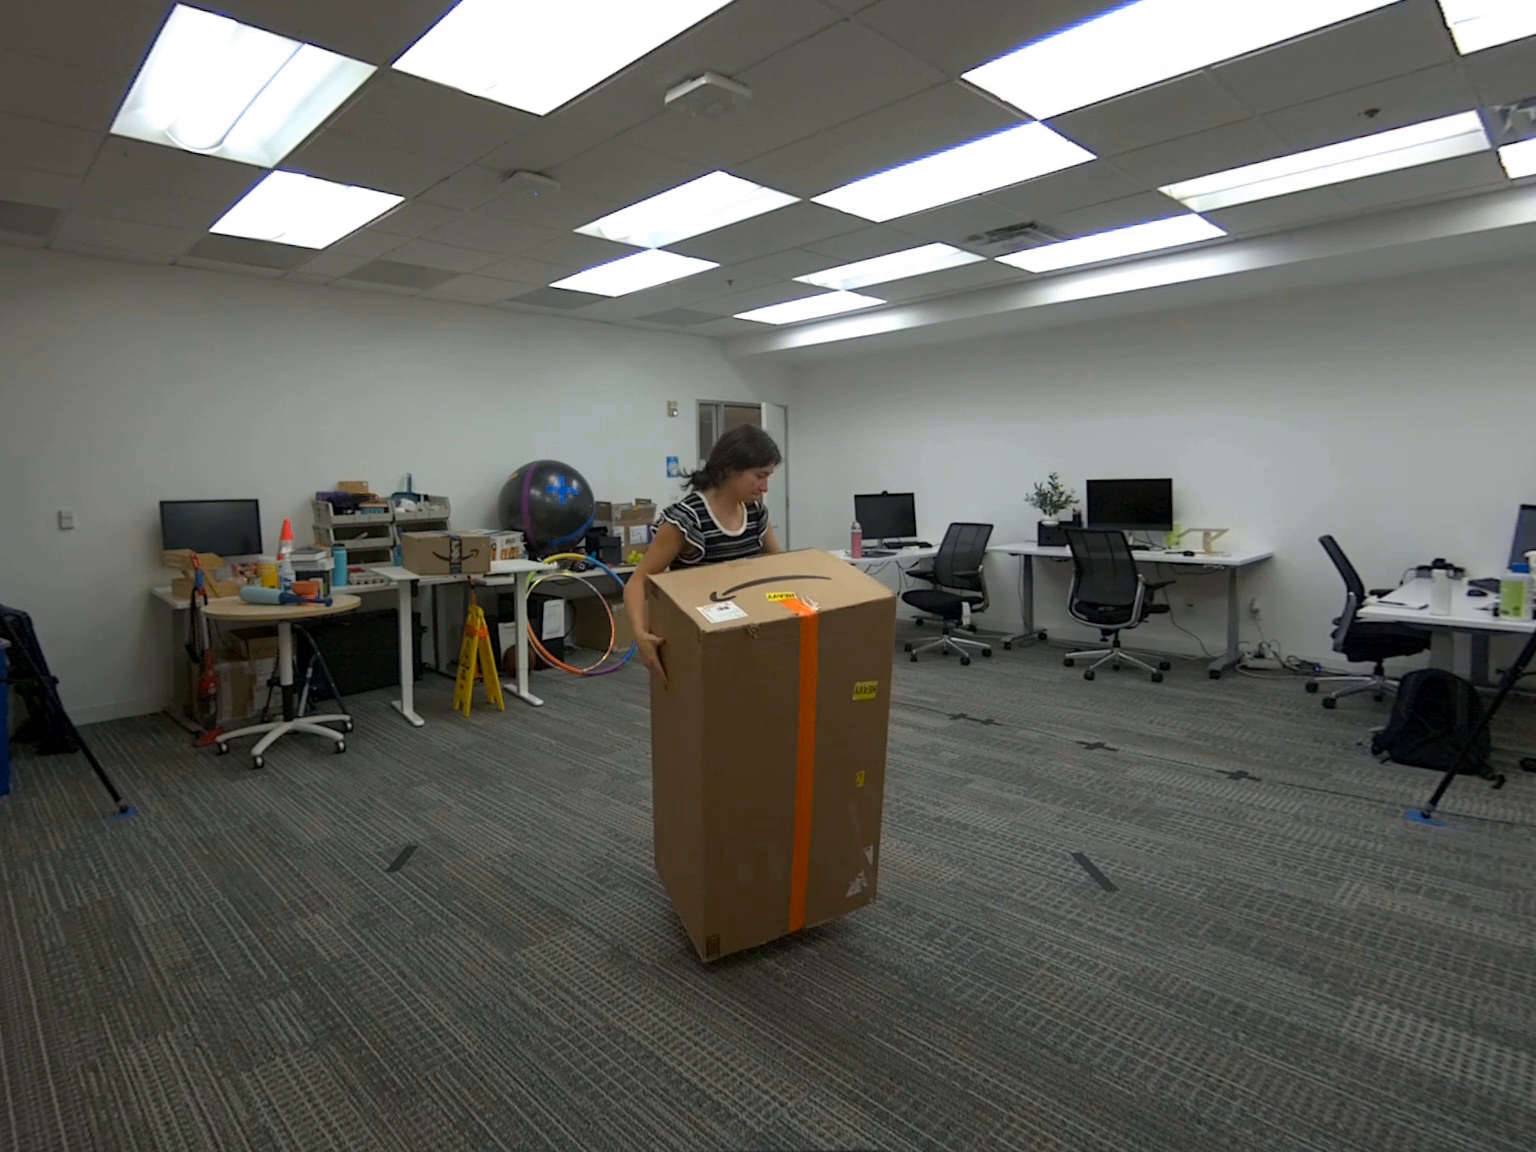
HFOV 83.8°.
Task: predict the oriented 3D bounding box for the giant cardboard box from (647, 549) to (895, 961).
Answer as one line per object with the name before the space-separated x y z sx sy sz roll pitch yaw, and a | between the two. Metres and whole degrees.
giant cardboard box | 0.004 0.501 2.515 0.567 1.009 0.441 -8 21 -24
